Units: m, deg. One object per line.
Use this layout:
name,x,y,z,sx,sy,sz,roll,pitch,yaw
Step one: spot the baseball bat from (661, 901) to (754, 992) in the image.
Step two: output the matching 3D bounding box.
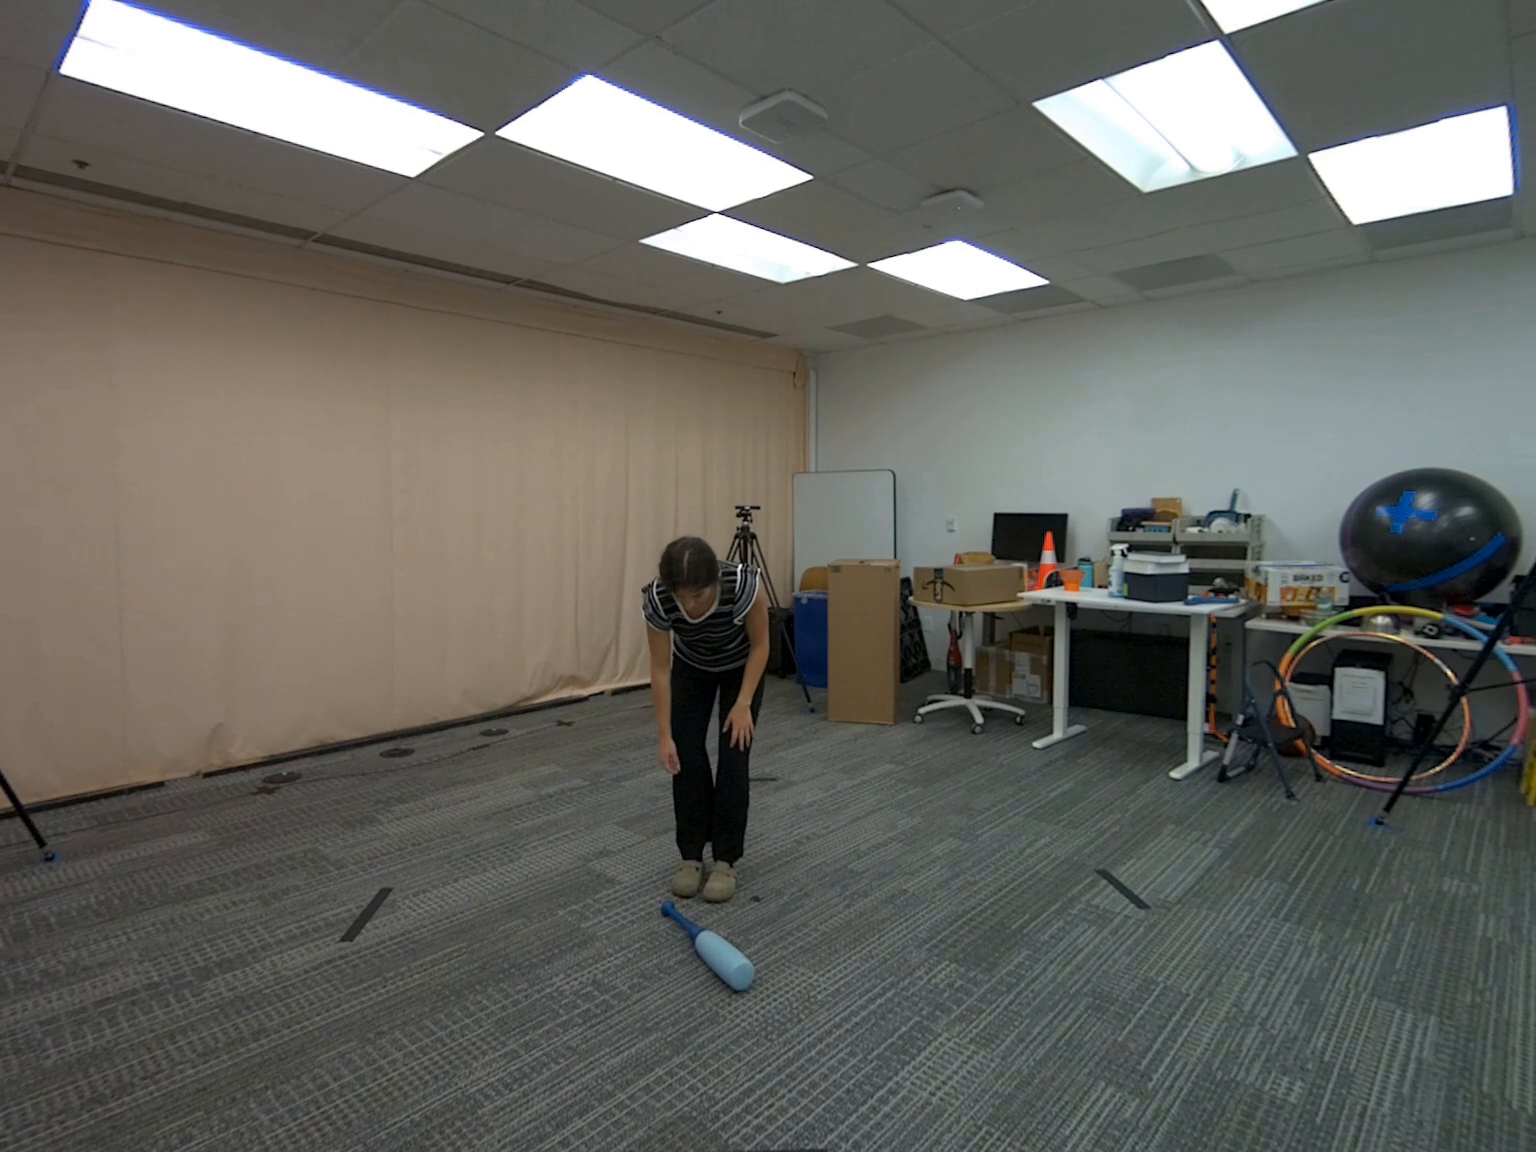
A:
baseball bat,-0.207,1.136,2.635,0.087,0.089,0.557,-2,2,-29
